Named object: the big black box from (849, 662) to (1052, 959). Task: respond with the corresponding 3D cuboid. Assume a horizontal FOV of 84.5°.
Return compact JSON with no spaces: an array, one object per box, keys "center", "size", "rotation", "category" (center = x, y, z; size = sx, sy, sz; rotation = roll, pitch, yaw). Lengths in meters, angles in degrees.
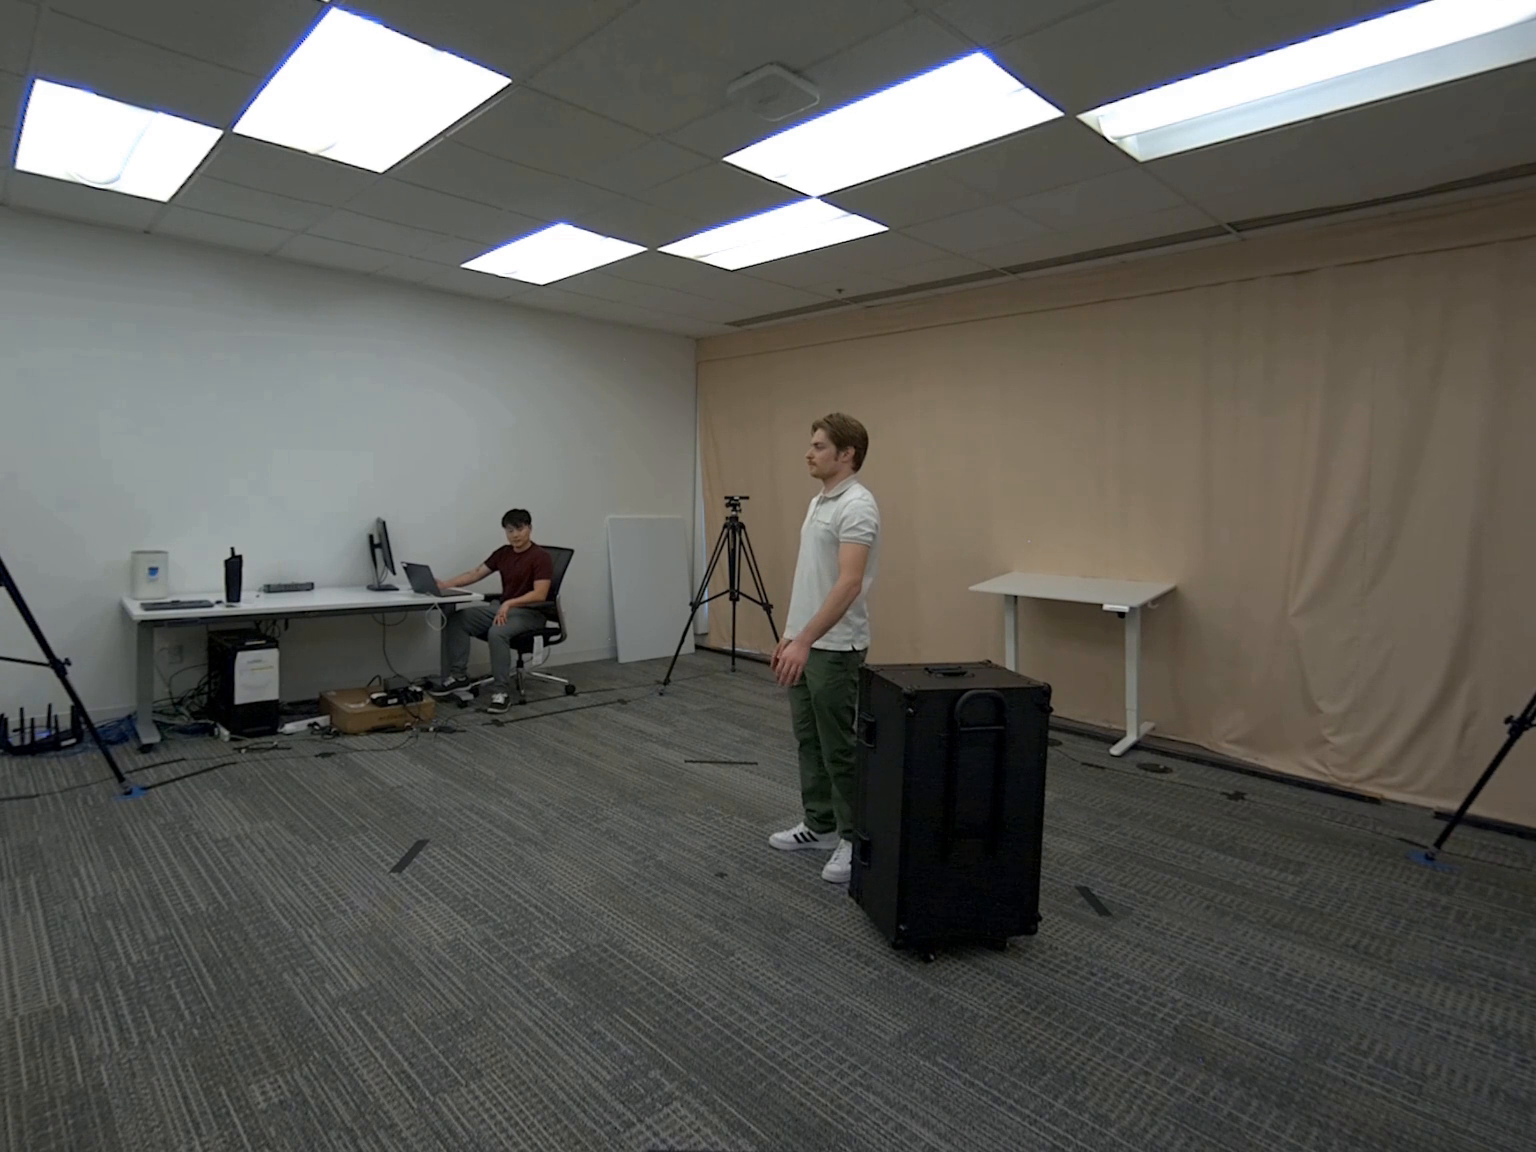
[{"center":[0.579,0.744,2.673],"size":[0.516,0.866,0.391],"rotation":[1,4,-17],"category":"big black box"}]
